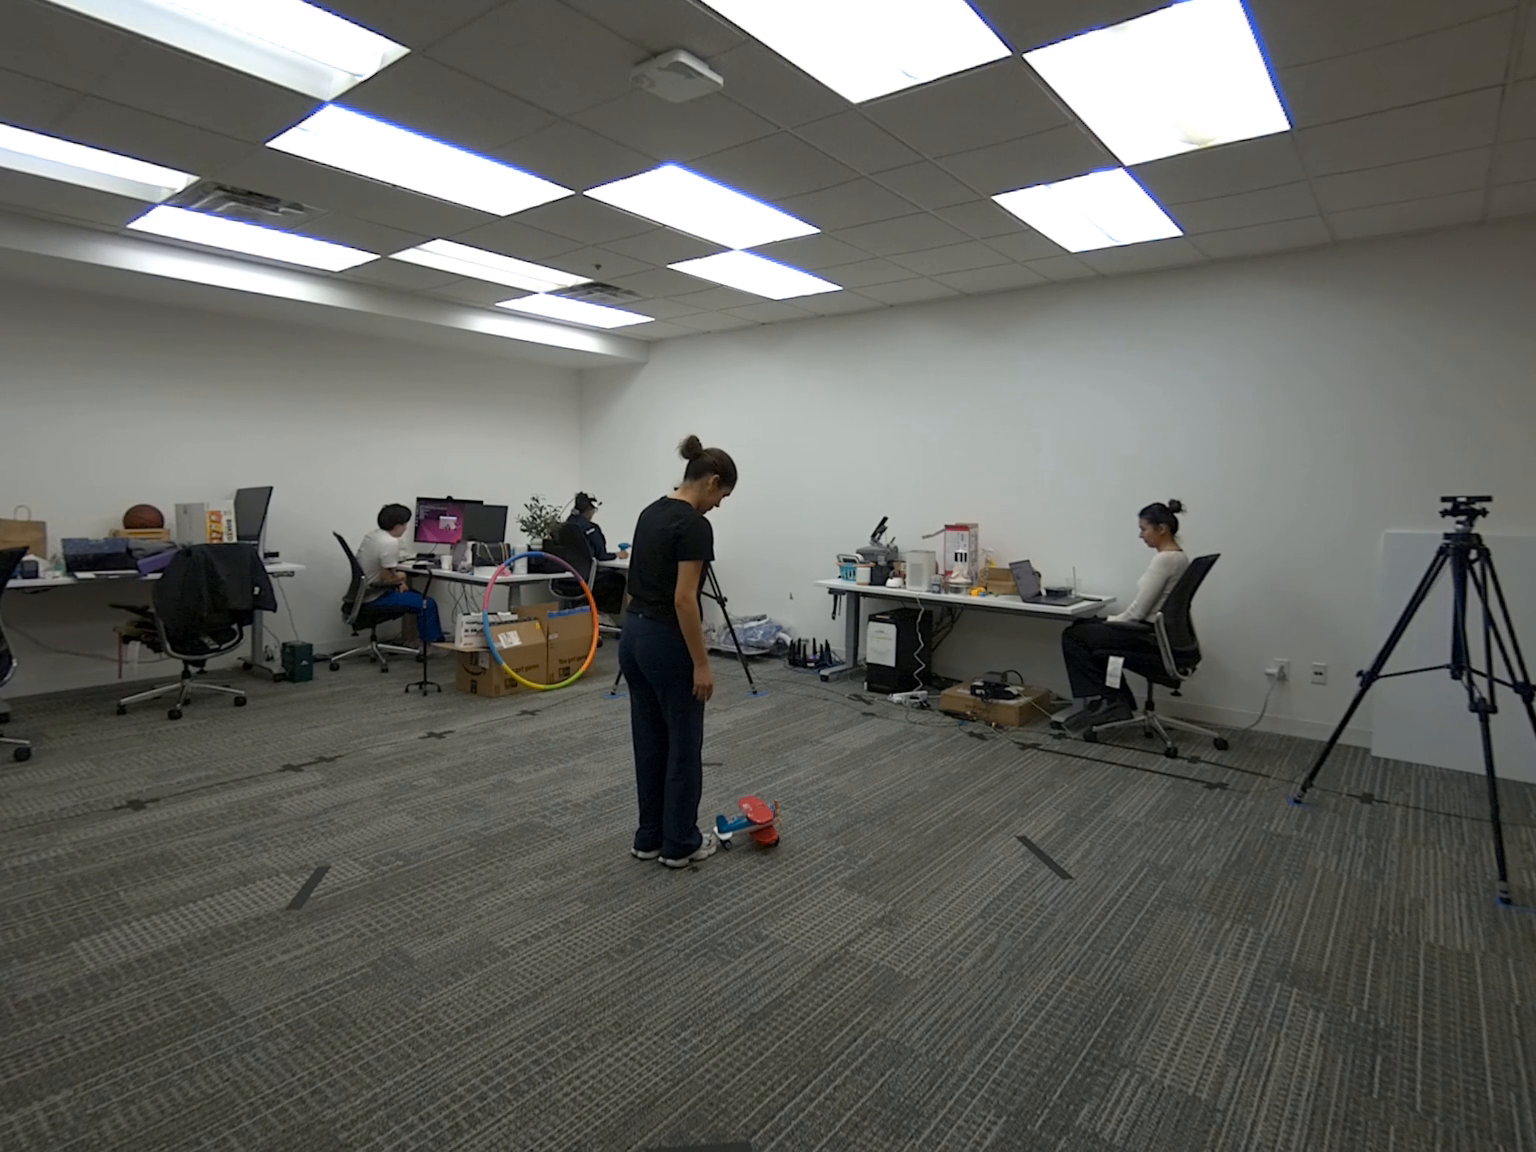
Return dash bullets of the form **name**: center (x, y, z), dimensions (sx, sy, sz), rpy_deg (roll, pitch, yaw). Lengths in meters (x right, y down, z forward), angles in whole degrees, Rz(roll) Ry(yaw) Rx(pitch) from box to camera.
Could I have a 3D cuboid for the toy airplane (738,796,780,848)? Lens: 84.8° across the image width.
- **toy airplane**: center (-0.056, 0.974, 3.316), dimensions (0.251, 0.156, 0.260), rpy_deg (-3, 6, -44)
